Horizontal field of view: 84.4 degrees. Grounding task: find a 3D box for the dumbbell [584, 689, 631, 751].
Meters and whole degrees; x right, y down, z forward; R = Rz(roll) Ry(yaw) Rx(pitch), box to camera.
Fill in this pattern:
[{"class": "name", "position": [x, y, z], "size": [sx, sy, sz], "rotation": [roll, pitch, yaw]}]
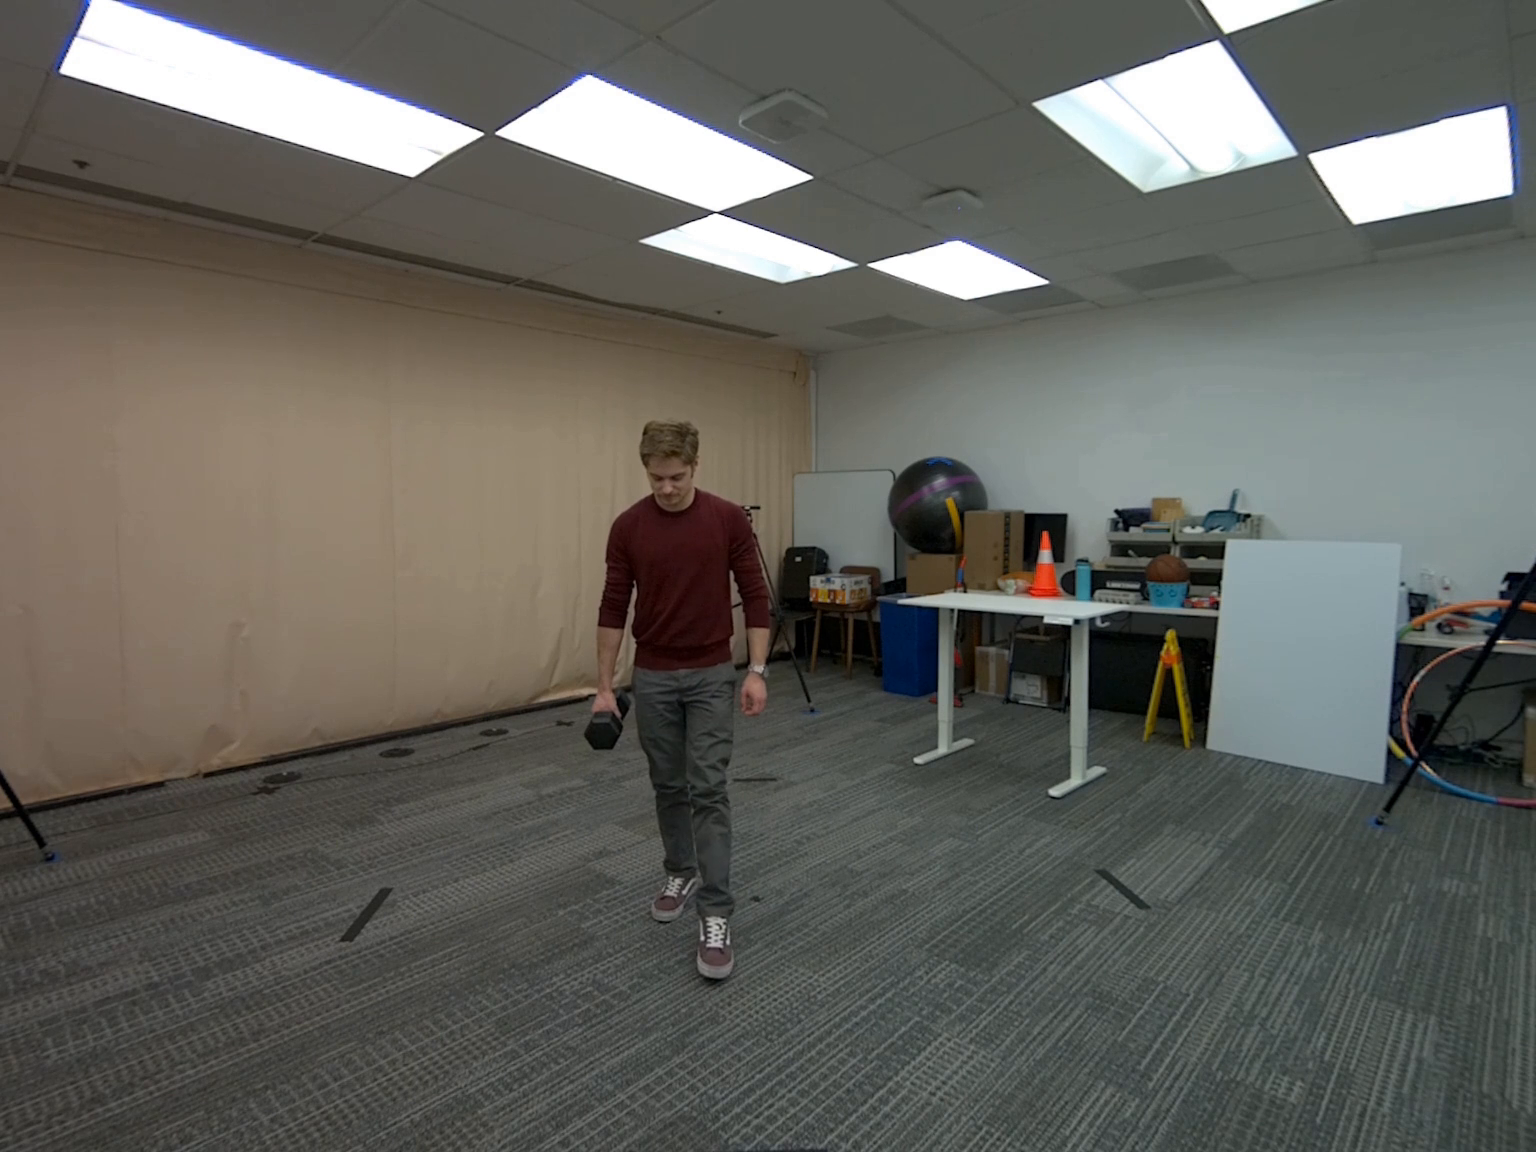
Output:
[{"class": "dumbbell", "position": [-0.534, 0.476, 2.811], "size": [0.108, 0.123, 0.295], "rotation": [28, 8, -6]}]
